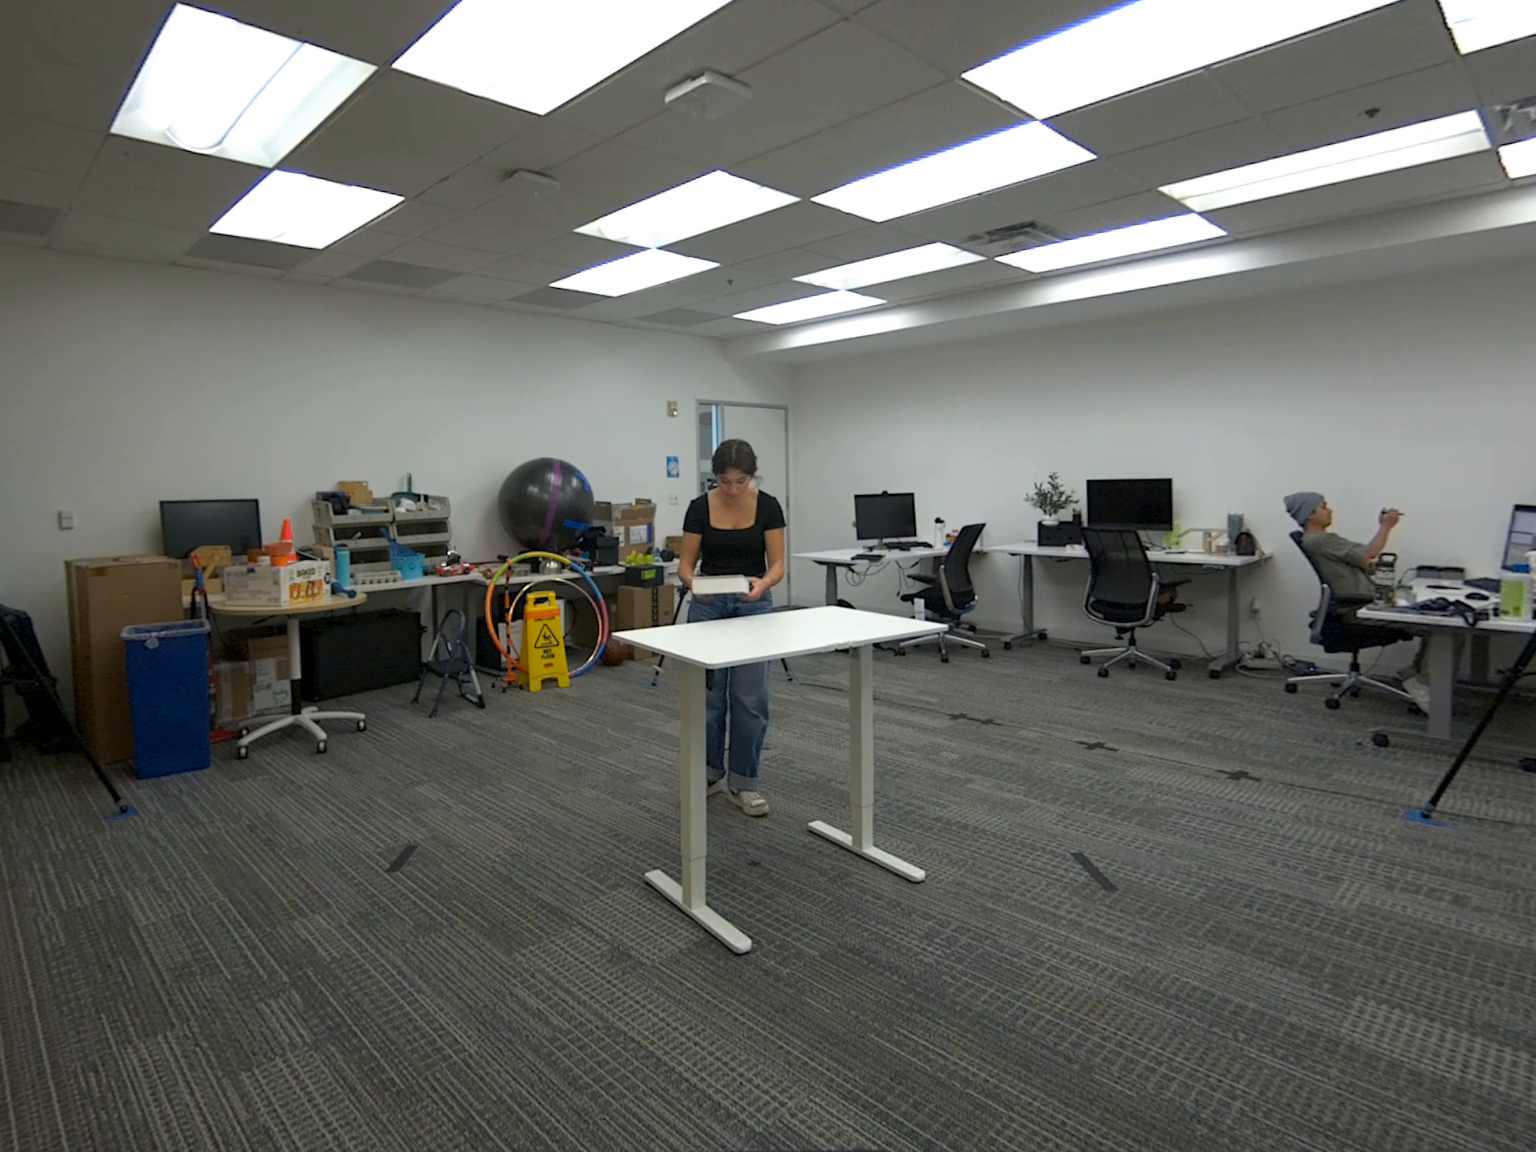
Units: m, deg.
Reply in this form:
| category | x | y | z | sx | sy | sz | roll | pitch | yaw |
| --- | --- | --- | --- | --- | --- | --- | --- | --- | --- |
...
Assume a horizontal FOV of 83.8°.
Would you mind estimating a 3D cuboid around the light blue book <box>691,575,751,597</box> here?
| category | x | y | z | sx | sy | sz | roll | pitch | yaw |
| --- | --- | --- | --- | --- | --- | --- | --- | --- | --- |
| light blue book | -0.181 | 0.048 | 3.243 | 0.192 | 0.059 | 0.259 | -1 | -3 | 2 |
